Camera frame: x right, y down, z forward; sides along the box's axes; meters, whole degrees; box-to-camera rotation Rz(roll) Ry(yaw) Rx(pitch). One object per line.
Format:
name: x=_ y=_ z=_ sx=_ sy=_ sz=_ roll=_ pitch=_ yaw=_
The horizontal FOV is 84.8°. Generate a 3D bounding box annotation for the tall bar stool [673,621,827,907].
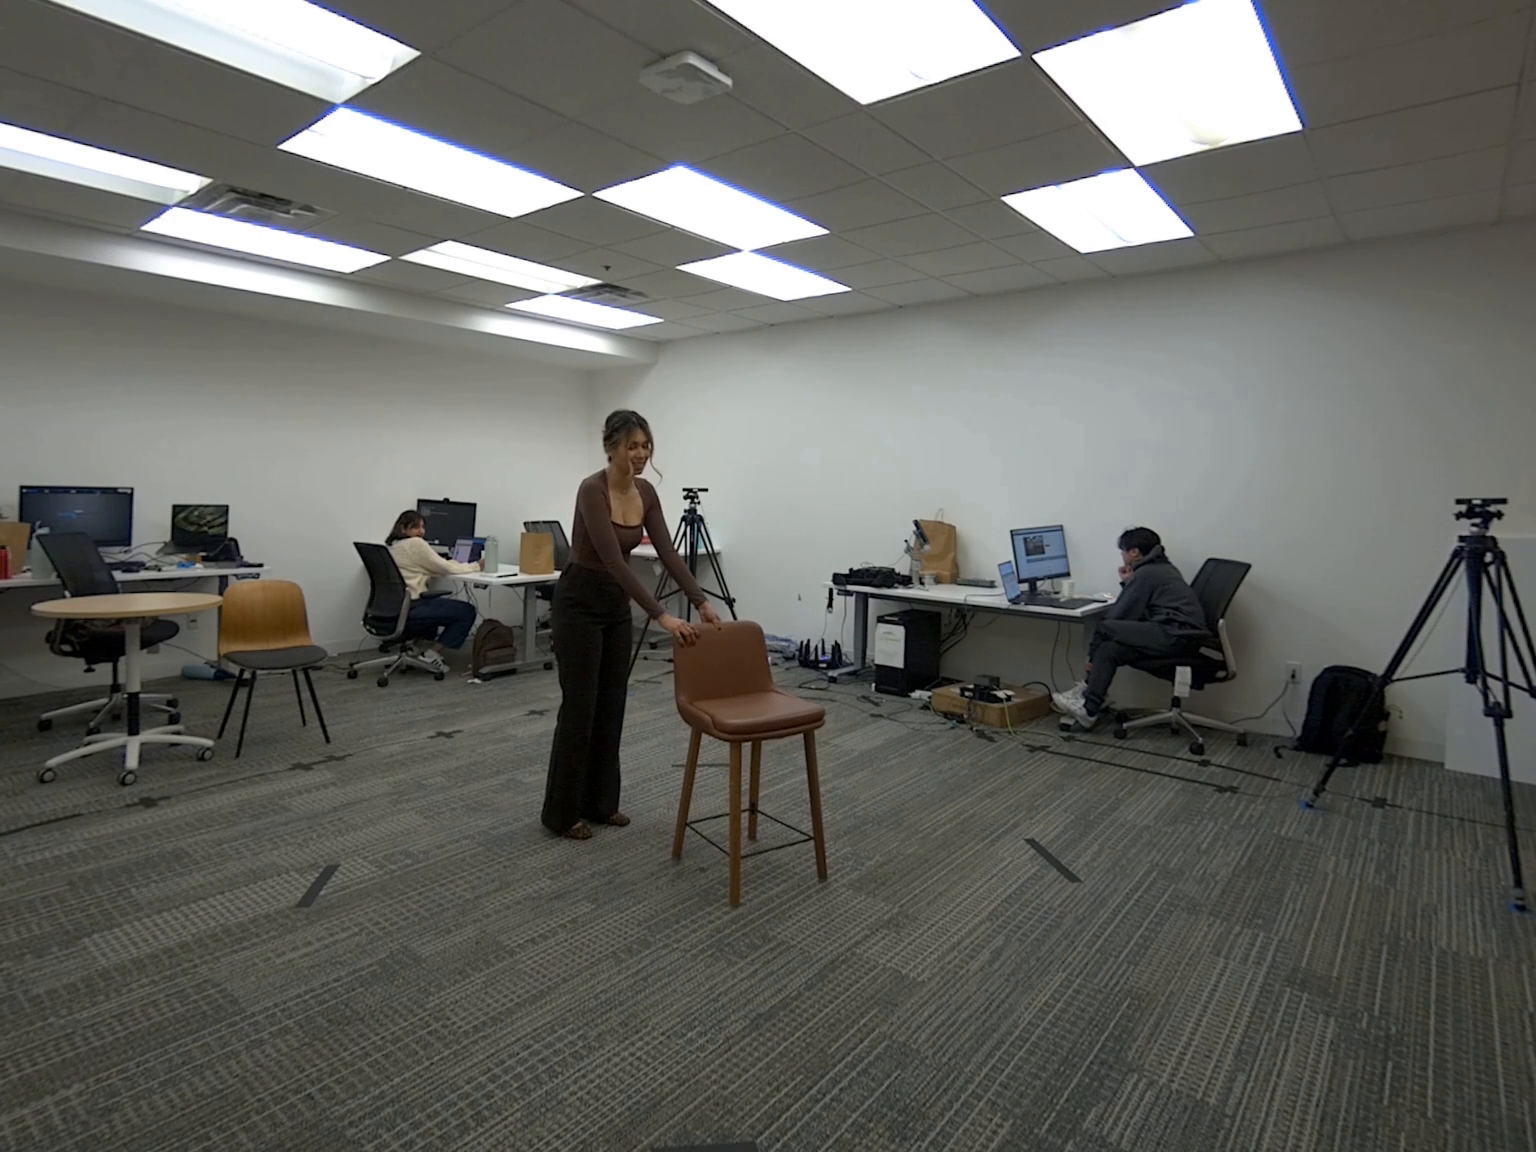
tall bar stool: x=-0.087 y=0.636 z=3.106 sx=0.443 sy=0.889 sz=0.482 roll=-1 pitch=2 yaw=-34
